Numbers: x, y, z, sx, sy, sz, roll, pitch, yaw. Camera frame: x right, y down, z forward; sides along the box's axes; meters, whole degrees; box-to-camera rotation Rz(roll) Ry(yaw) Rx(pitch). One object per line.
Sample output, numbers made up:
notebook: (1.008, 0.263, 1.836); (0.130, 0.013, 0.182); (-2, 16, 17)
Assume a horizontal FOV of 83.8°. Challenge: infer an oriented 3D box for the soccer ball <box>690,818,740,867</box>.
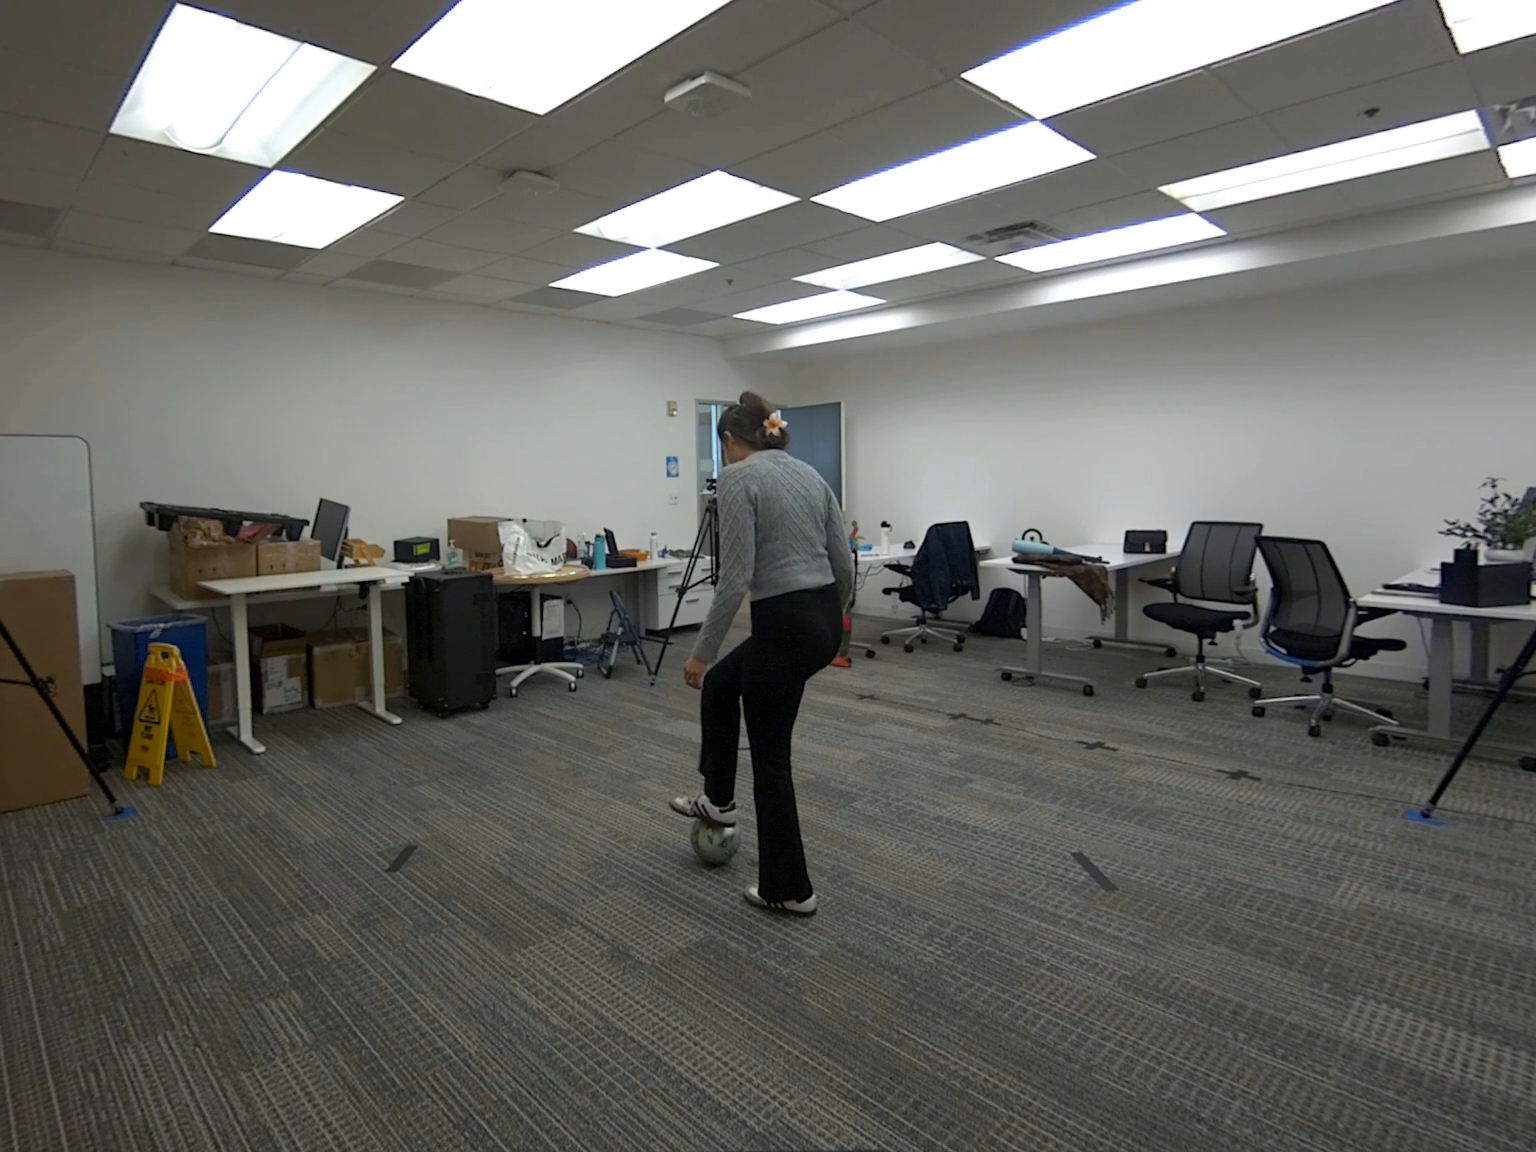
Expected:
soccer ball: (-0.186, 0.950, 3.112); (0.187, 0.187, 0.188); (-1, 5, -2)
